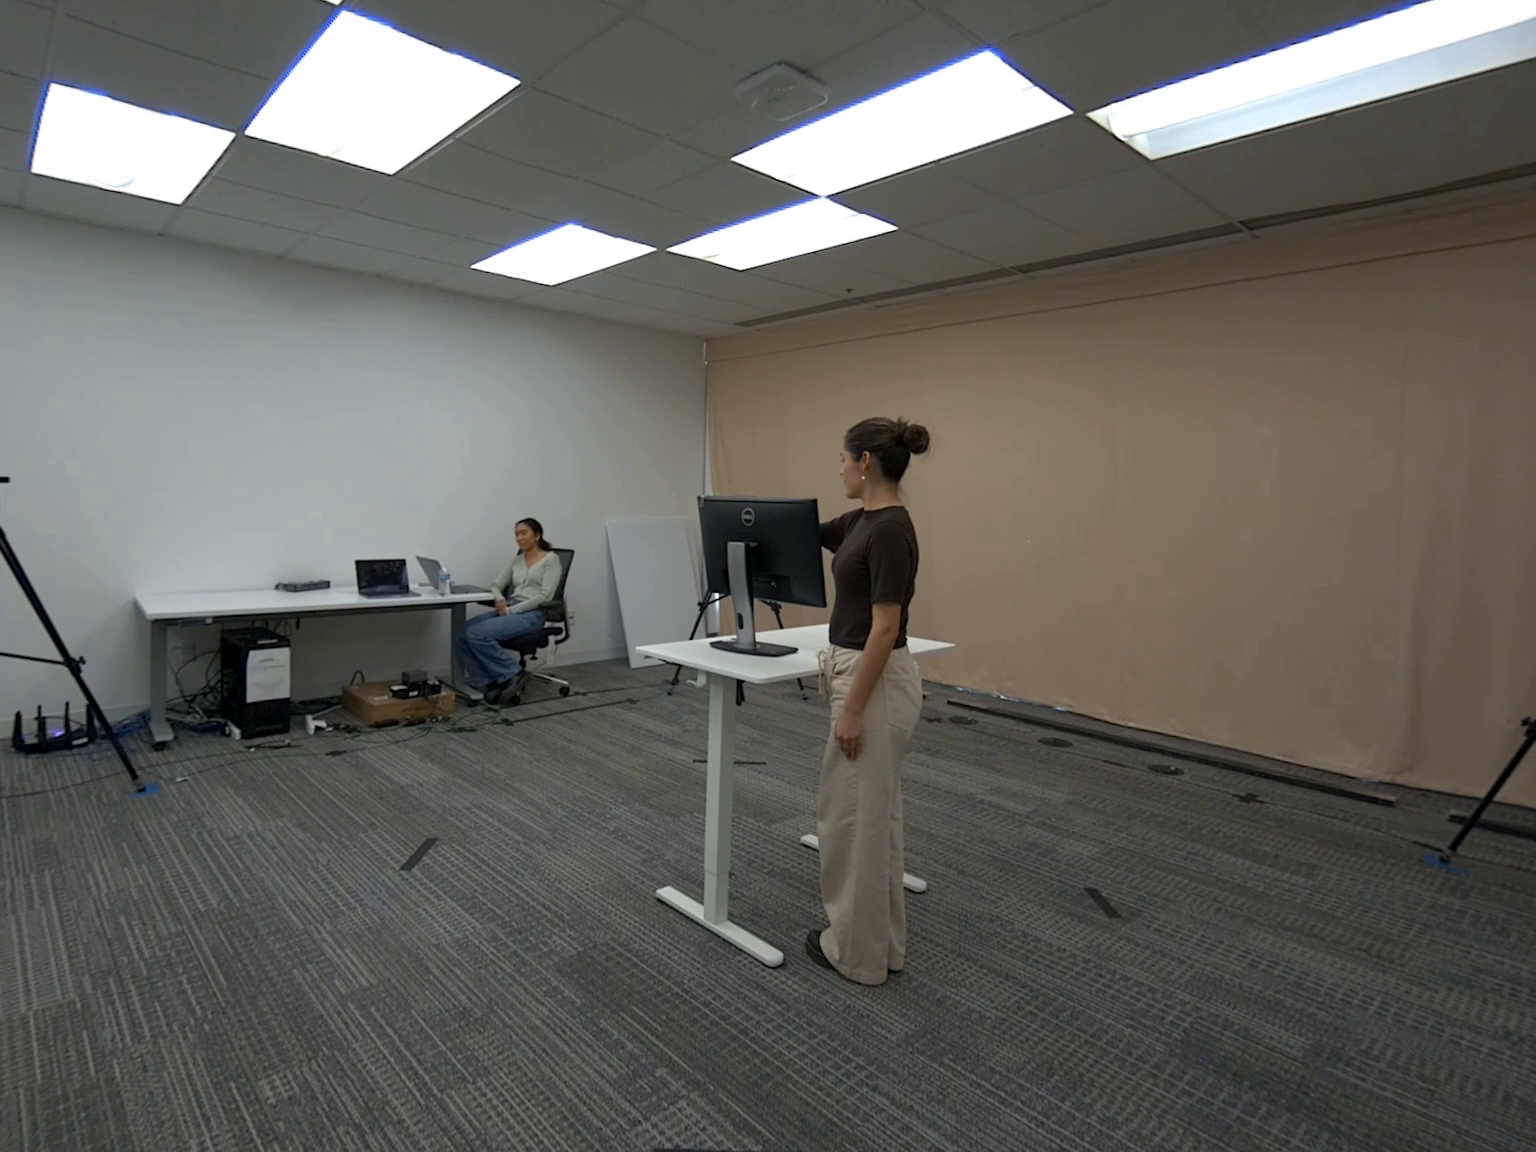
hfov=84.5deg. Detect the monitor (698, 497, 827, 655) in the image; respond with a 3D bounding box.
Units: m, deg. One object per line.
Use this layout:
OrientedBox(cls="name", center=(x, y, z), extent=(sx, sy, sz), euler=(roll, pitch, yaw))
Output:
OrientedBox(cls="monitor", center=(-0.056, -0.001, 2.800), extent=(0.553, 0.521, 0.183), euler=(5, 4, 43))
